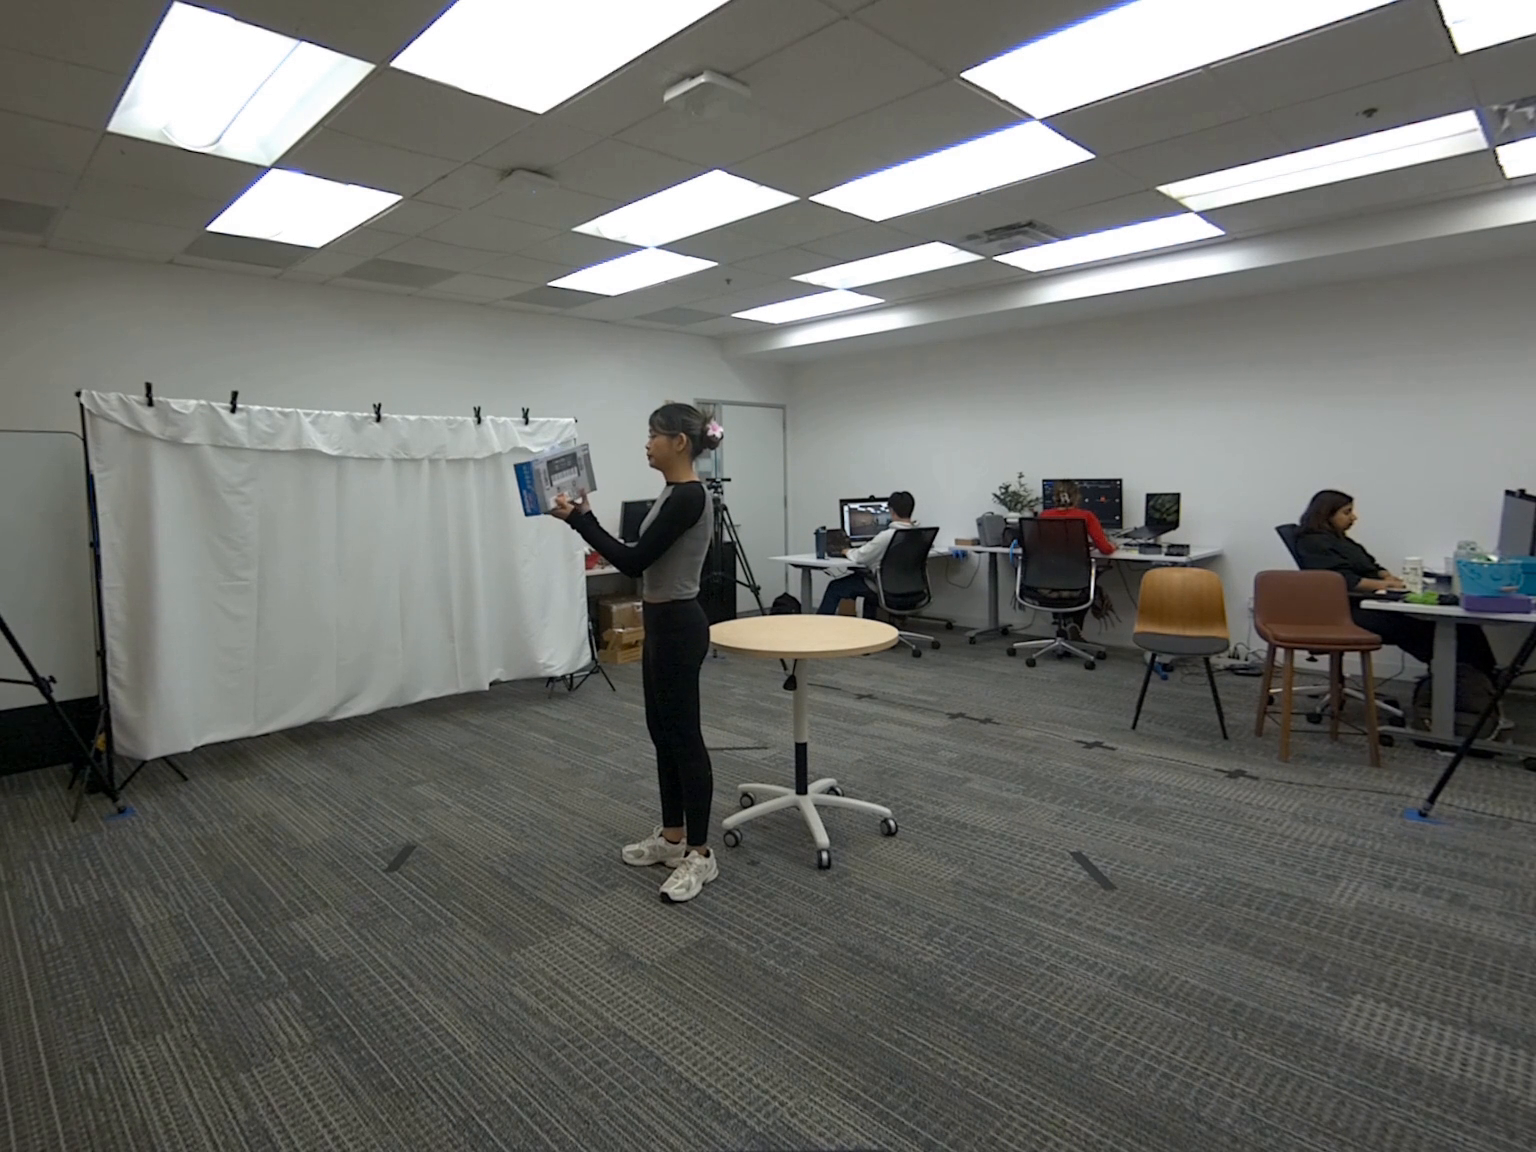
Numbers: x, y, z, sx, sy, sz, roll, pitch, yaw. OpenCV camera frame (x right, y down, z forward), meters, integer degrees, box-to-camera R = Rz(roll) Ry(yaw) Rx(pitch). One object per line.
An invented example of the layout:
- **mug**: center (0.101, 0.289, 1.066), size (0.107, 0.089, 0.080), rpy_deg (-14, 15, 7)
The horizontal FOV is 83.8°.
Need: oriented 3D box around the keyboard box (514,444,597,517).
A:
- **keyboard box**: center (-0.702, -0.332, 2.866), size (0.060, 0.174, 0.437), rpy_deg (-6, 13, 13)
